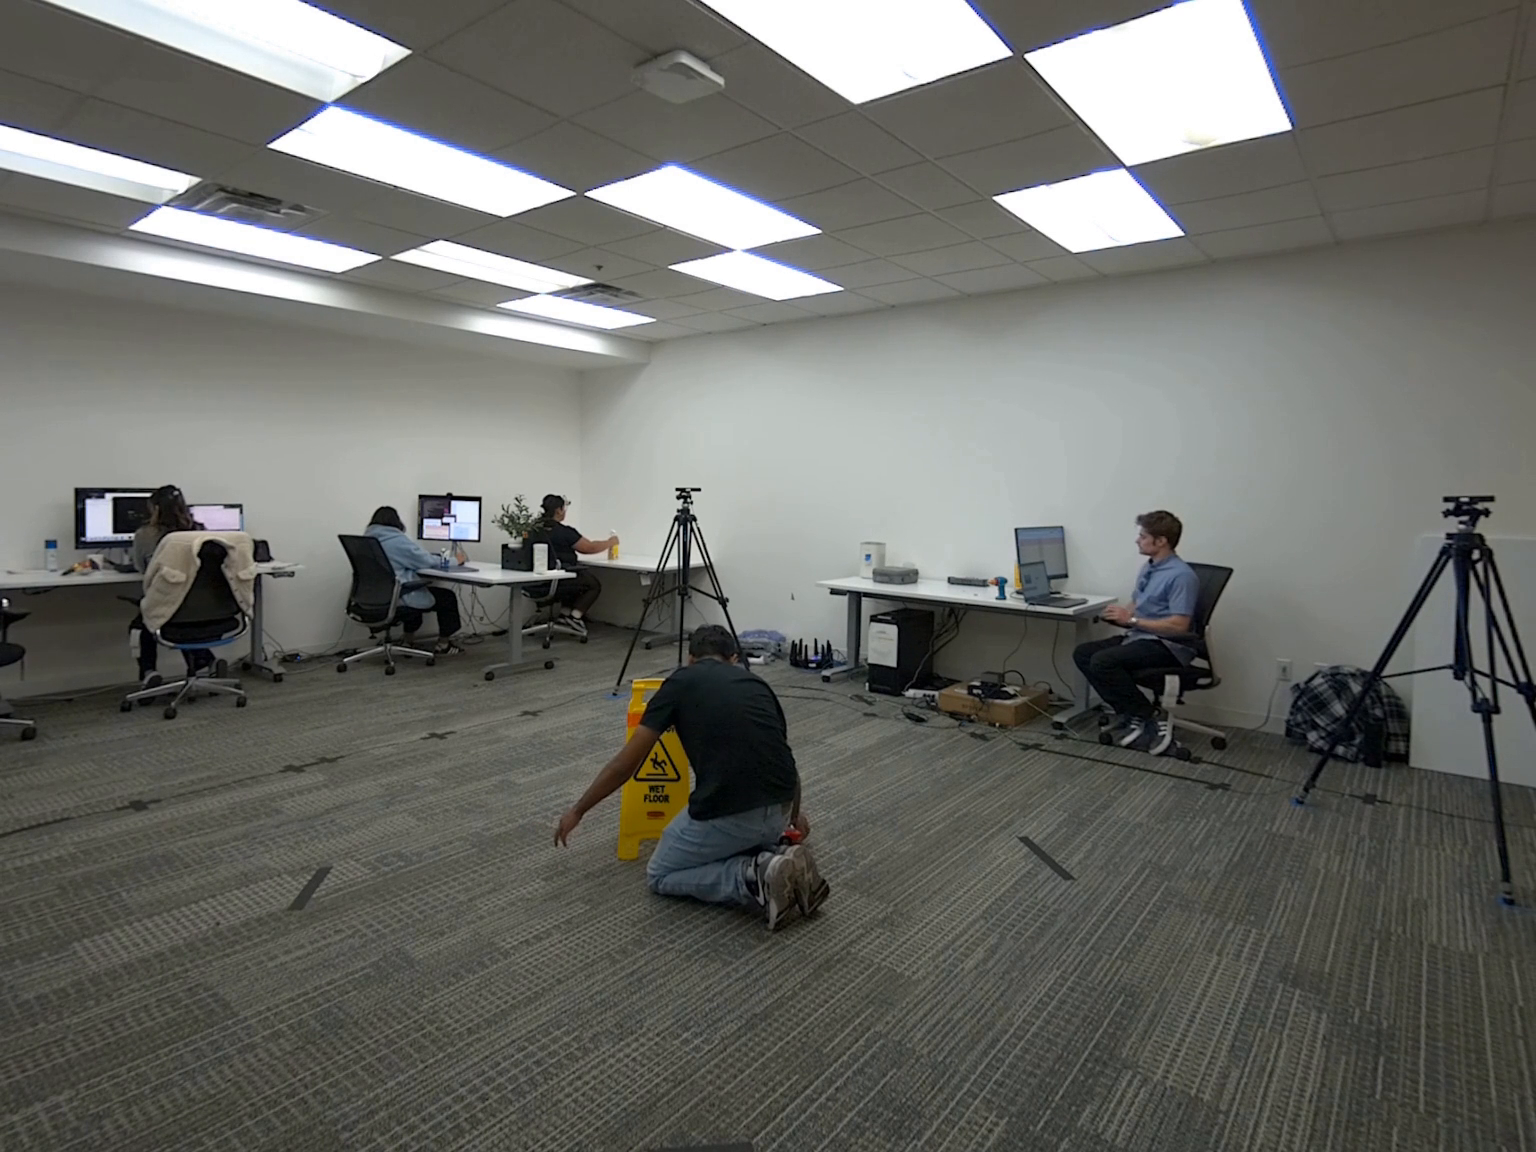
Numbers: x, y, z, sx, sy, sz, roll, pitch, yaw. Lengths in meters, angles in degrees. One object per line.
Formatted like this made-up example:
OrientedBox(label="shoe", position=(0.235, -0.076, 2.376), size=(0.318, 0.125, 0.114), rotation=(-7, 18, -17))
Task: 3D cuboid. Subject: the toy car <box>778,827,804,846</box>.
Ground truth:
OrientedBox(label="toy car", position=(-0.002, 1.012, 3.351), size=(0.255, 0.083, 0.130), rotation=(-9, 1, 2))
